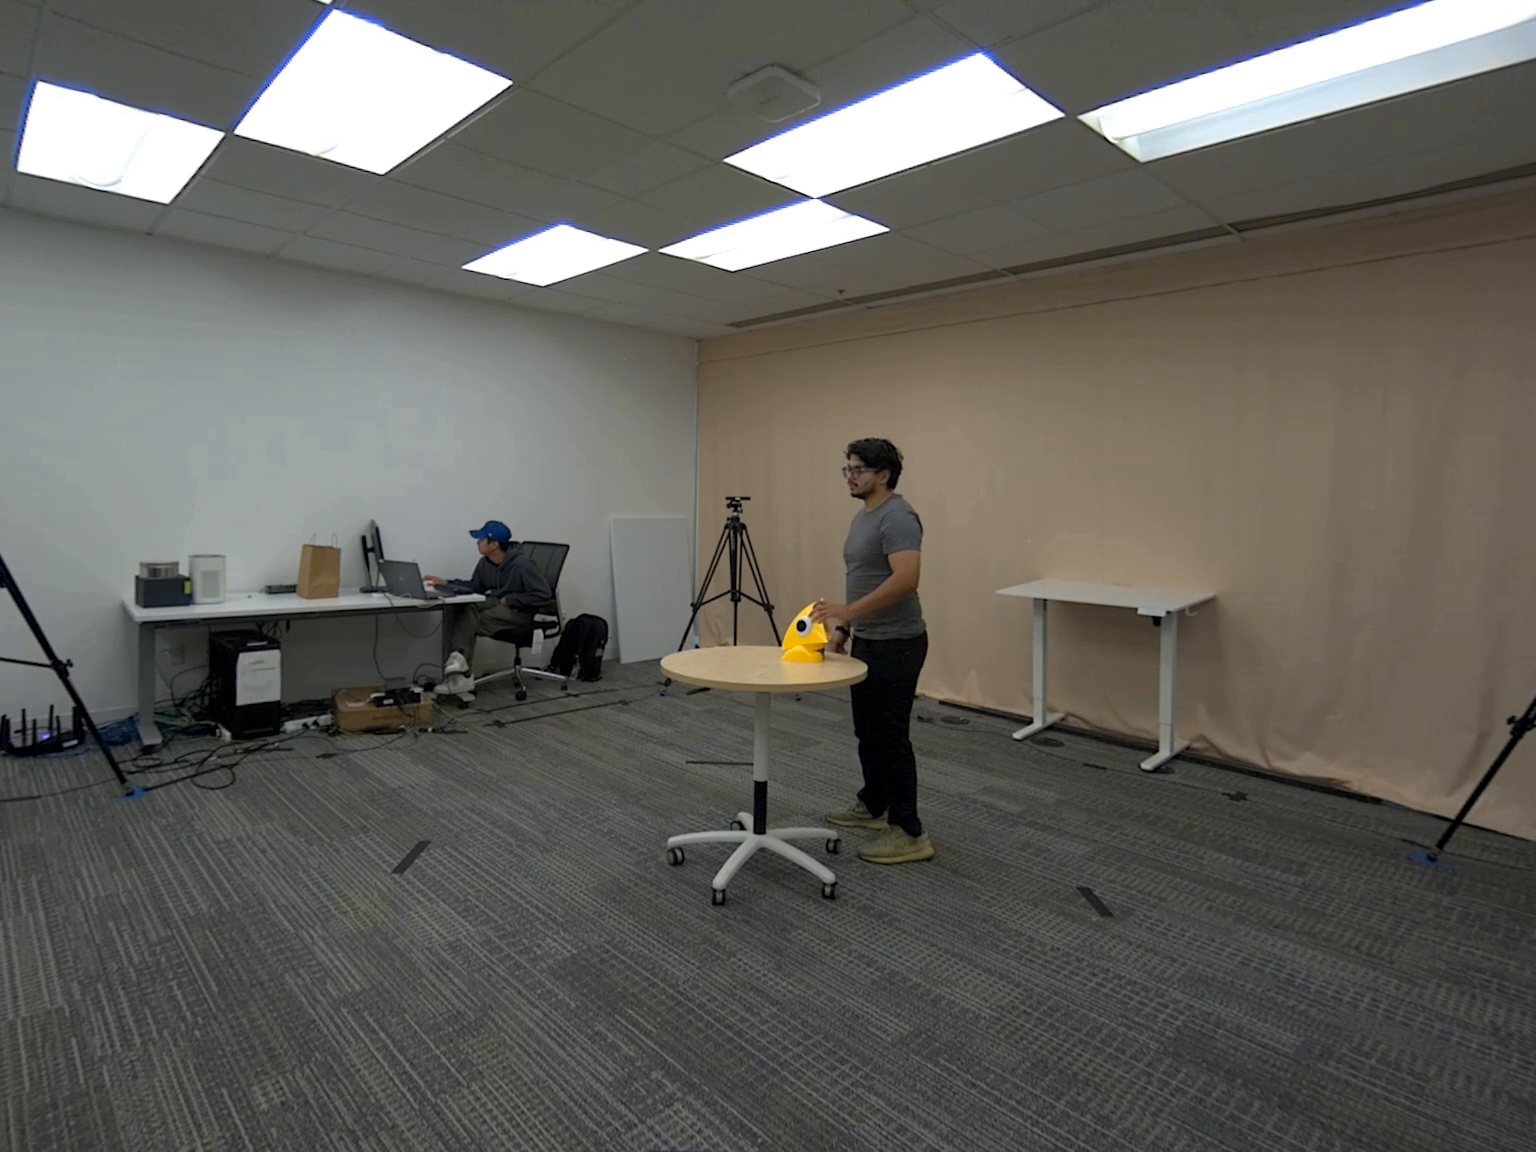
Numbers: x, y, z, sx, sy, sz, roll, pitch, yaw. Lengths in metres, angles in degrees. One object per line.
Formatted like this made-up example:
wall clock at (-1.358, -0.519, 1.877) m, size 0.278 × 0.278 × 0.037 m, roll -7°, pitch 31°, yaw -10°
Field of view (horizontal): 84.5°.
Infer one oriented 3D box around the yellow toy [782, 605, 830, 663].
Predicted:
yellow toy at (0.142, 0.202, 3.253) m, size 0.195 × 0.230 × 0.203 m, roll 3°, pitch 3°, yaw 11°
